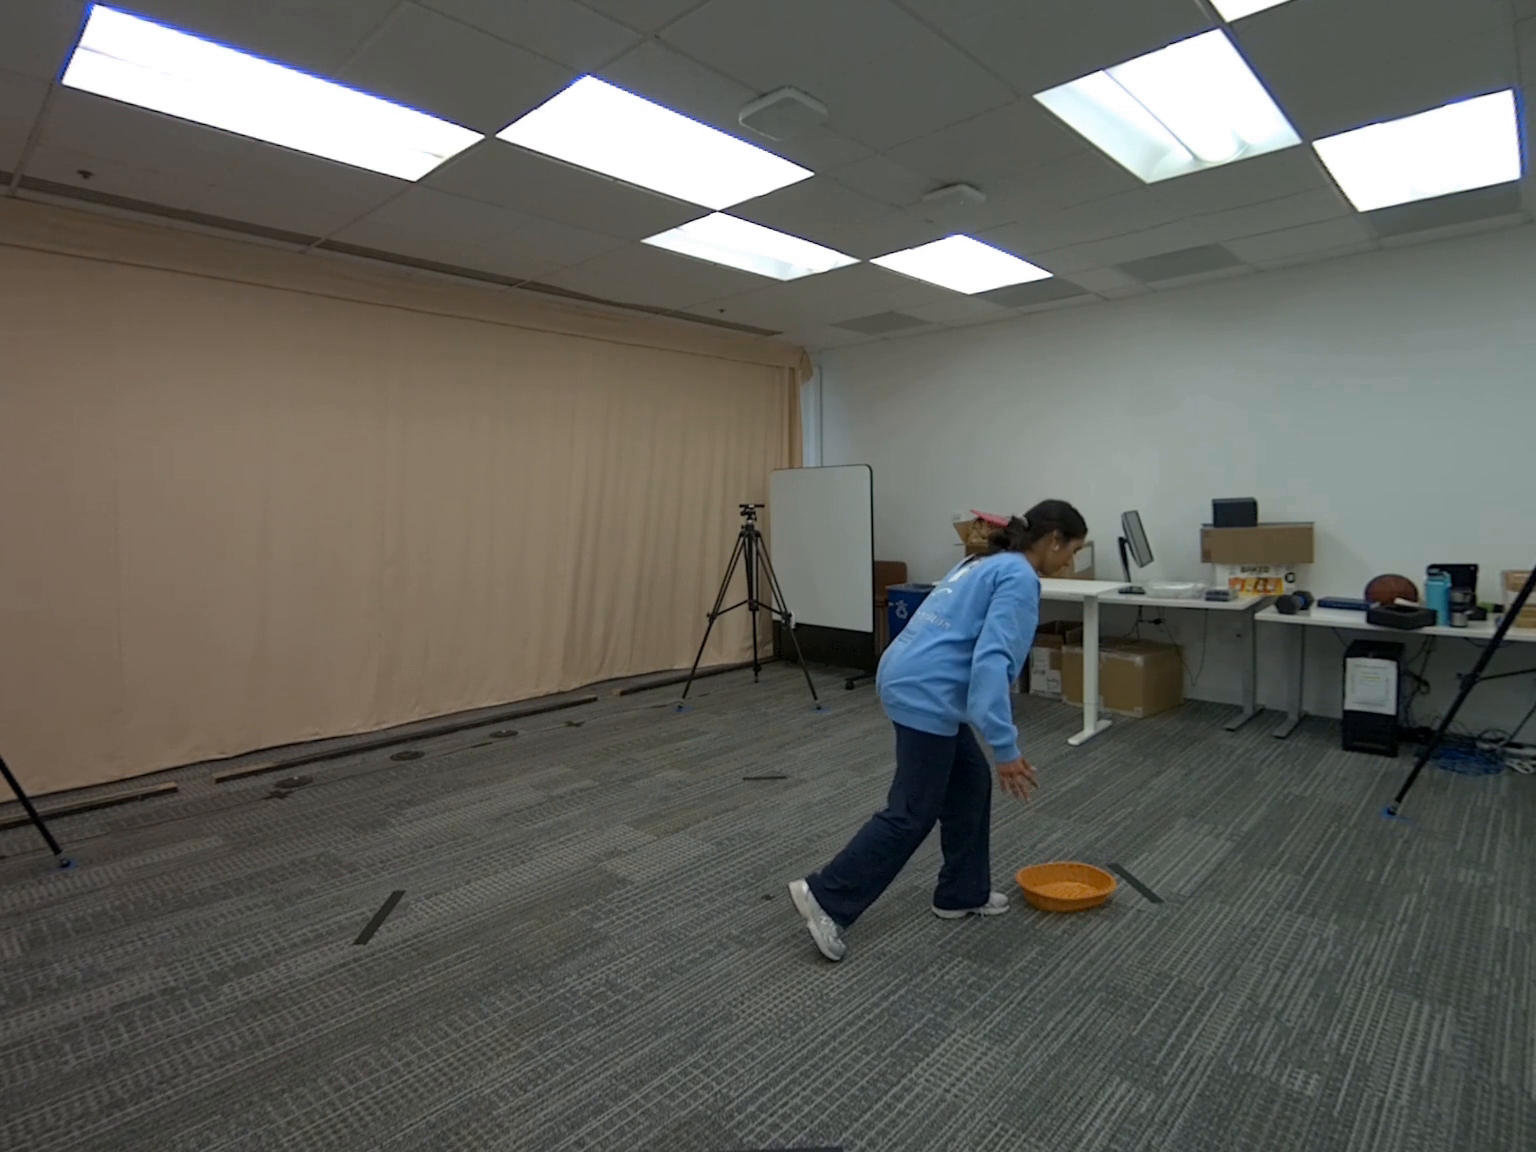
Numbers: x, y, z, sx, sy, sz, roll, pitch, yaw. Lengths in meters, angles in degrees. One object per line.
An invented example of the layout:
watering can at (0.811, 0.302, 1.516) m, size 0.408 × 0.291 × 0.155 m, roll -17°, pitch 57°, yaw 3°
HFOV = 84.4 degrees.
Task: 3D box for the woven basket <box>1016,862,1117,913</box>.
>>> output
woven basket at (1.043, 1.091, 2.925) m, size 0.345 × 0.073 × 0.257 m, roll -2°, pitch 6°, yaw -15°
